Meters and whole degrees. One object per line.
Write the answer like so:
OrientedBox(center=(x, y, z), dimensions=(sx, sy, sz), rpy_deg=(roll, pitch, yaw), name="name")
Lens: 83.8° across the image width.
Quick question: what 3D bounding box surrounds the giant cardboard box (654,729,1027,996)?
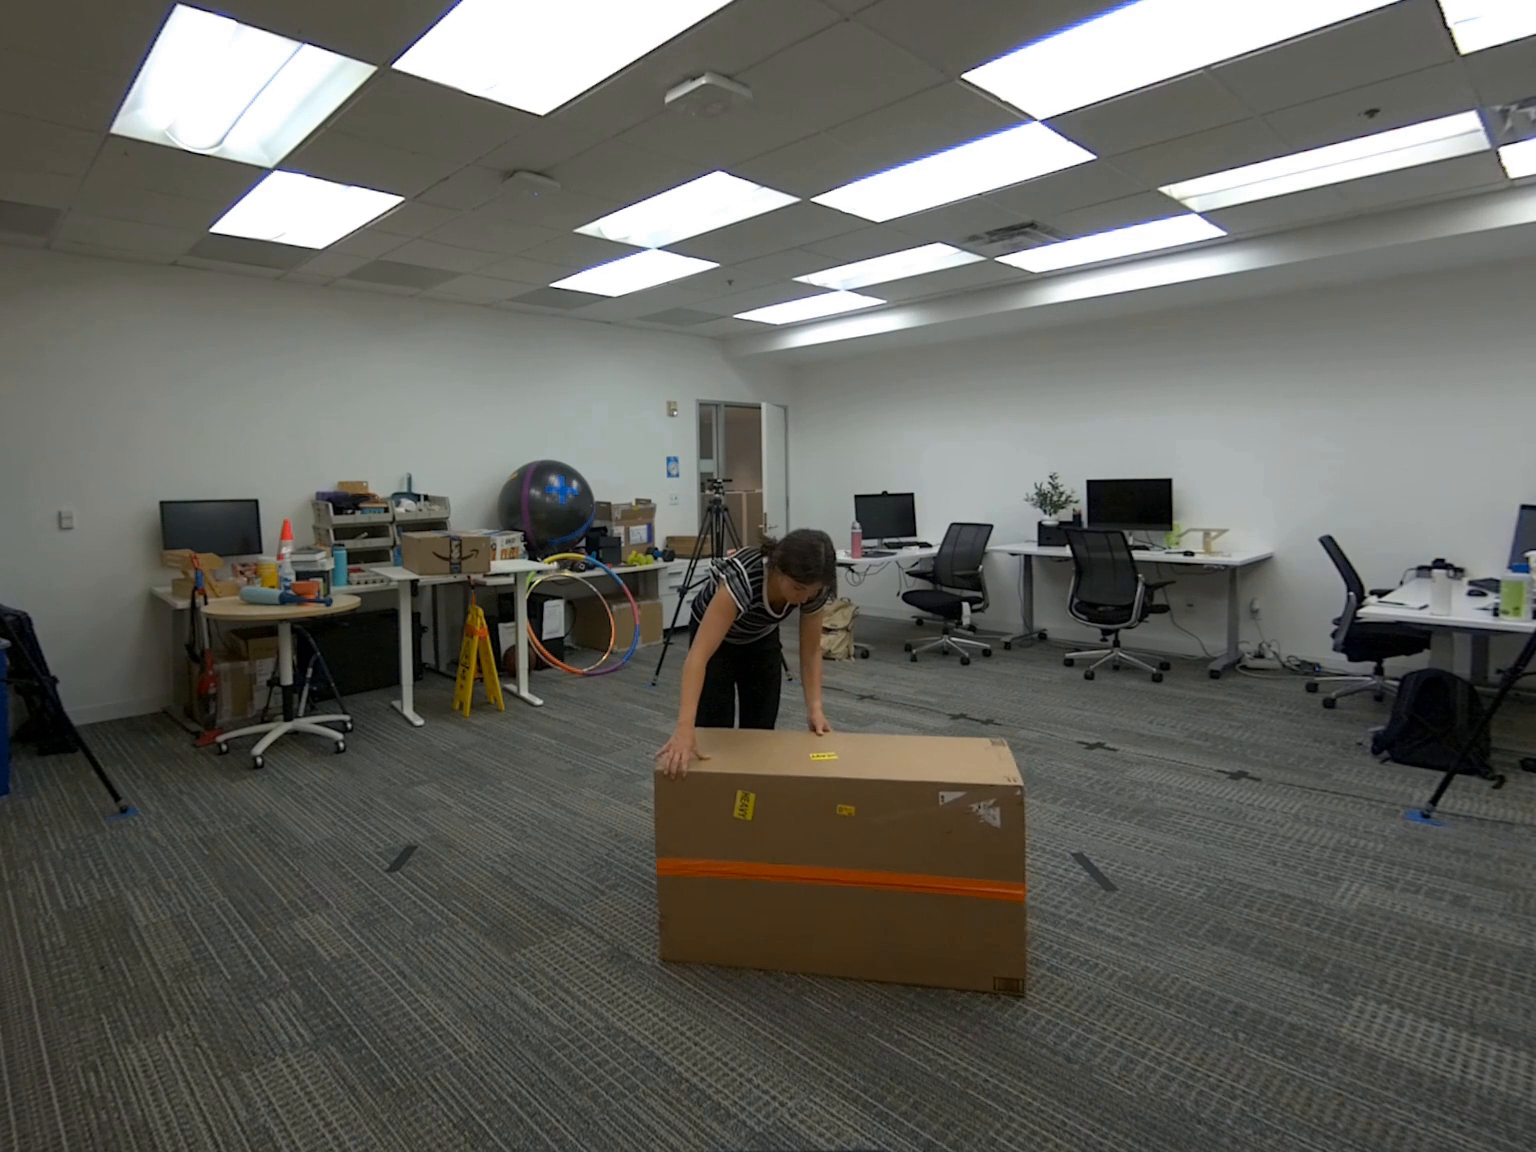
OrientedBox(center=(0.213, 0.810, 2.562), dimensions=(1.038, 0.575, 0.423), rpy_deg=(-1, 4, 12), name="giant cardboard box")
